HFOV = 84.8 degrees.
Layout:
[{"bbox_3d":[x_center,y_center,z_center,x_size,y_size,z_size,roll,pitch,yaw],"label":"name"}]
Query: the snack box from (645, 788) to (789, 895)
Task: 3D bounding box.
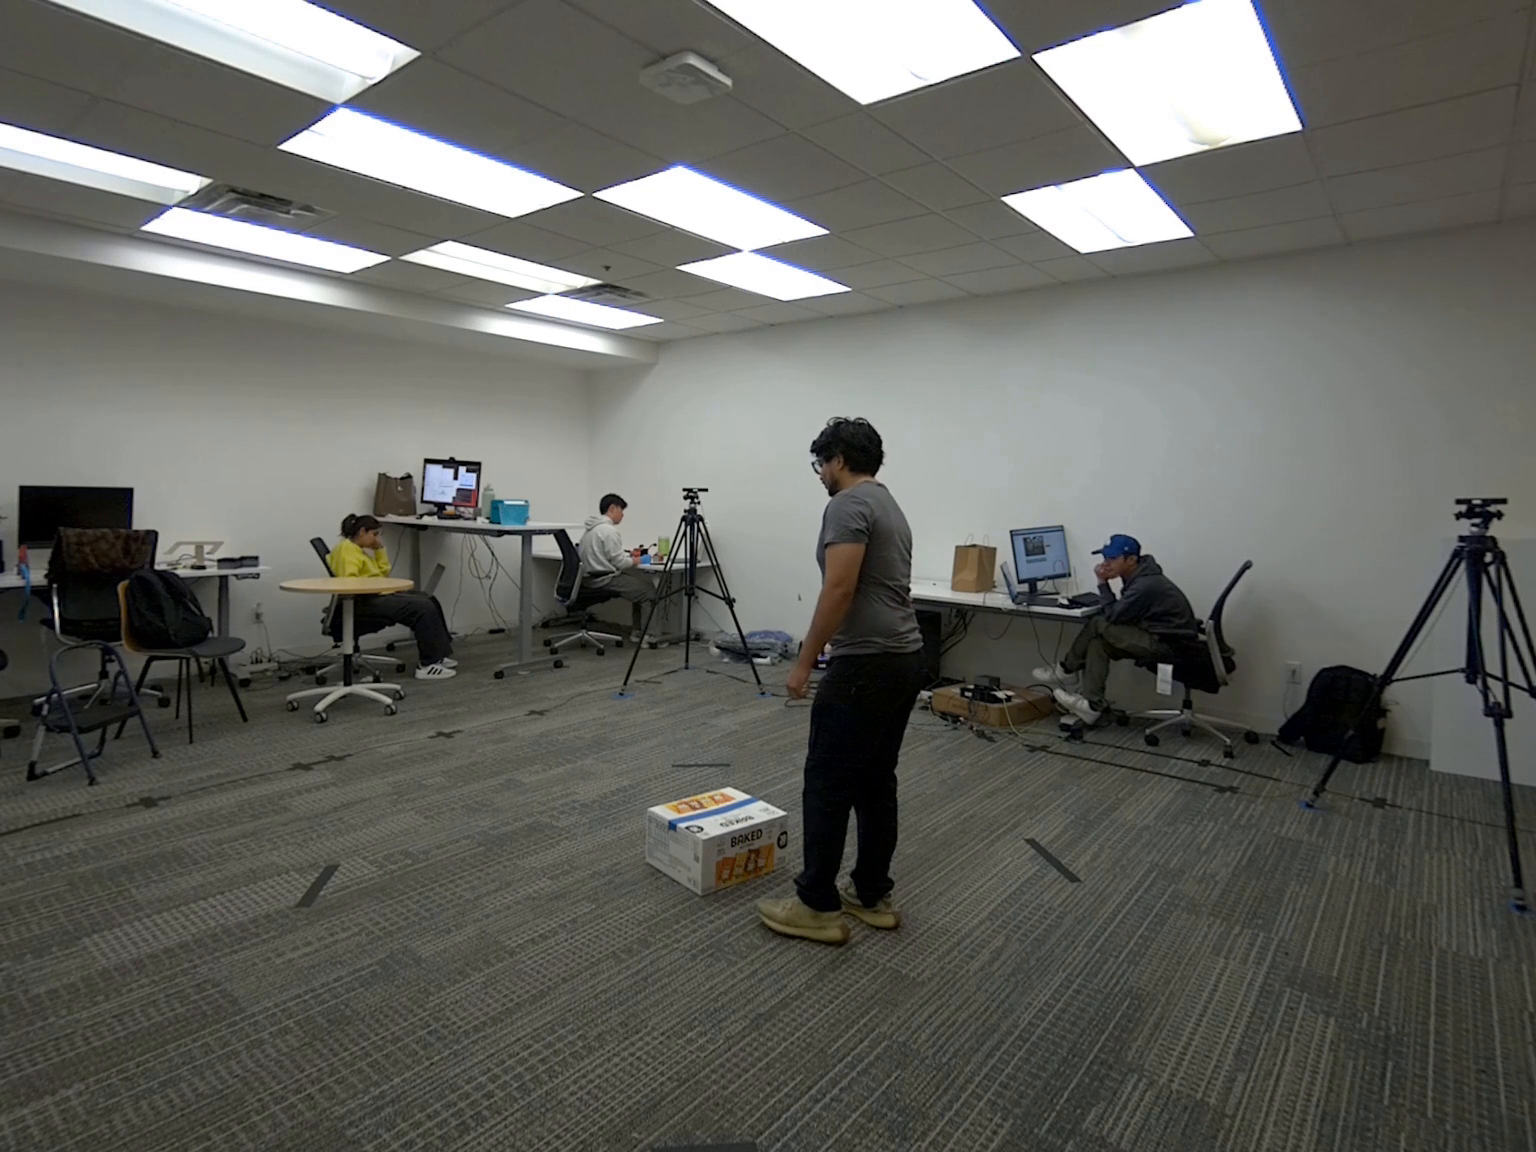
[{"bbox_3d":[-0.199,0.965,3.140,0.393,0.205,0.352,-3,6,-41],"label":"snack box"}]
